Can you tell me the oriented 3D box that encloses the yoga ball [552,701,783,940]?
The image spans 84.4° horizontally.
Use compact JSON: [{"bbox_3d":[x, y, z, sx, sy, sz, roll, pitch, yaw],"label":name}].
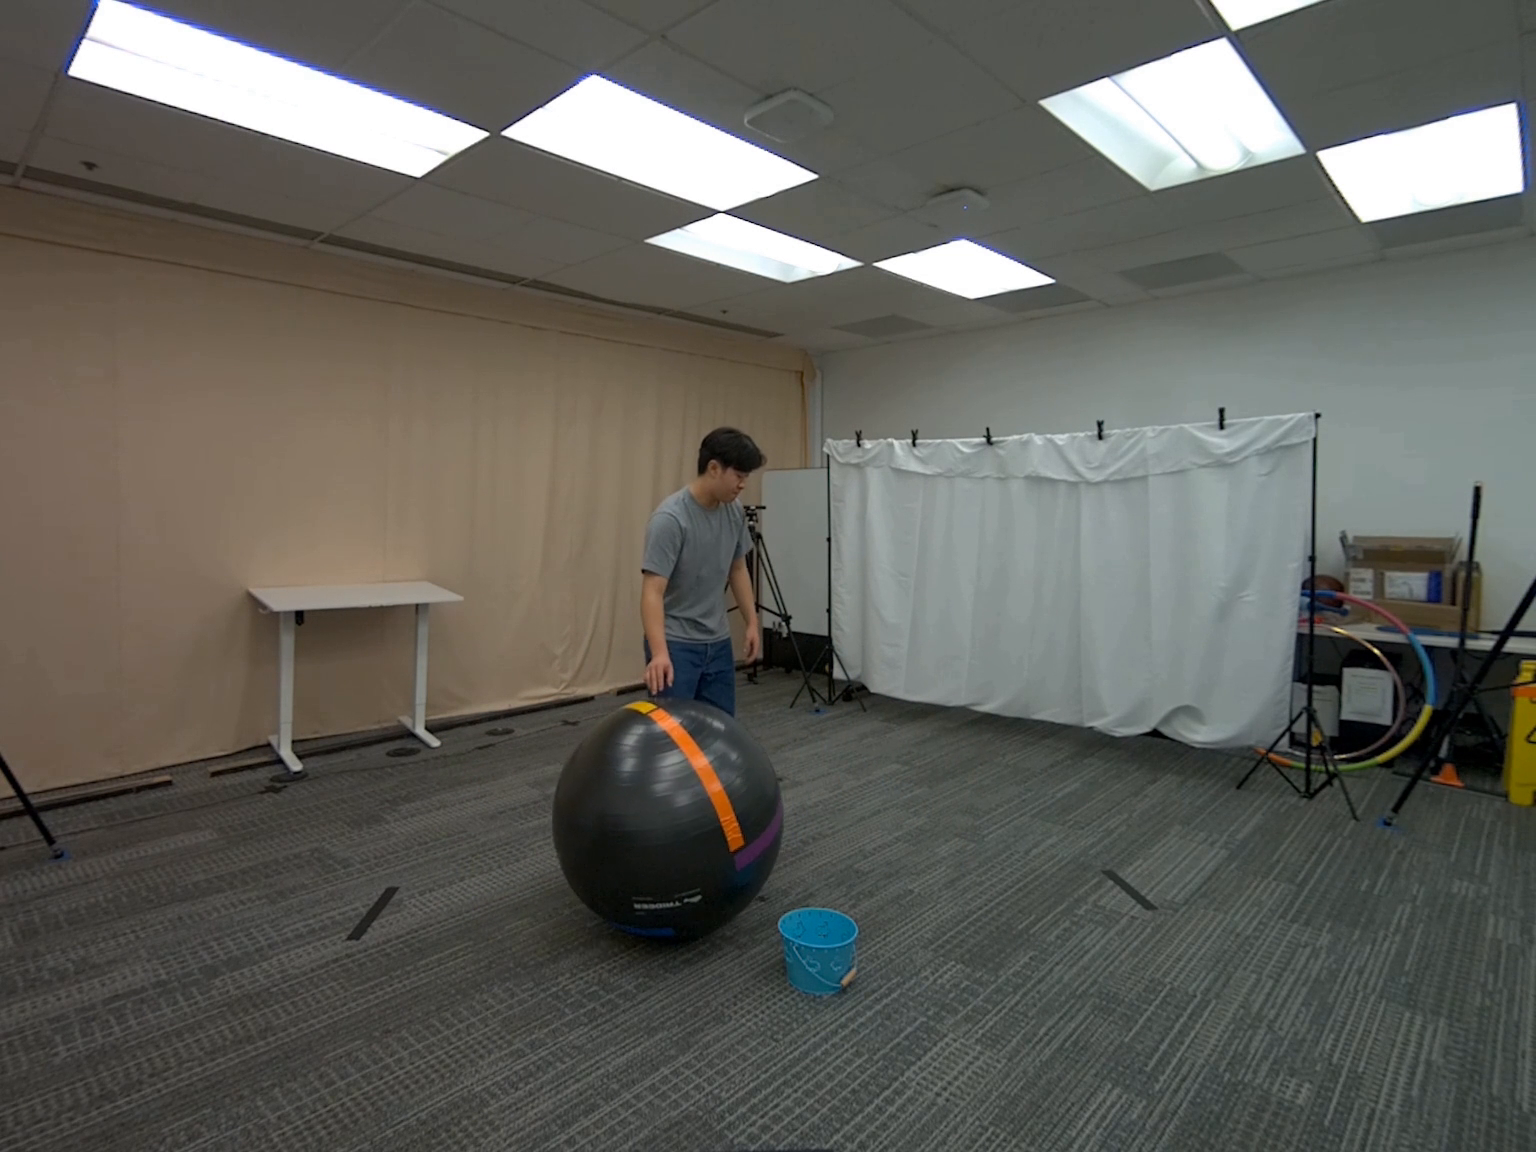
[{"bbox_3d":[-0.327,0.790,2.779,0.757,0.756,0.760,0,4,-2],"label":"yoga ball"}]
